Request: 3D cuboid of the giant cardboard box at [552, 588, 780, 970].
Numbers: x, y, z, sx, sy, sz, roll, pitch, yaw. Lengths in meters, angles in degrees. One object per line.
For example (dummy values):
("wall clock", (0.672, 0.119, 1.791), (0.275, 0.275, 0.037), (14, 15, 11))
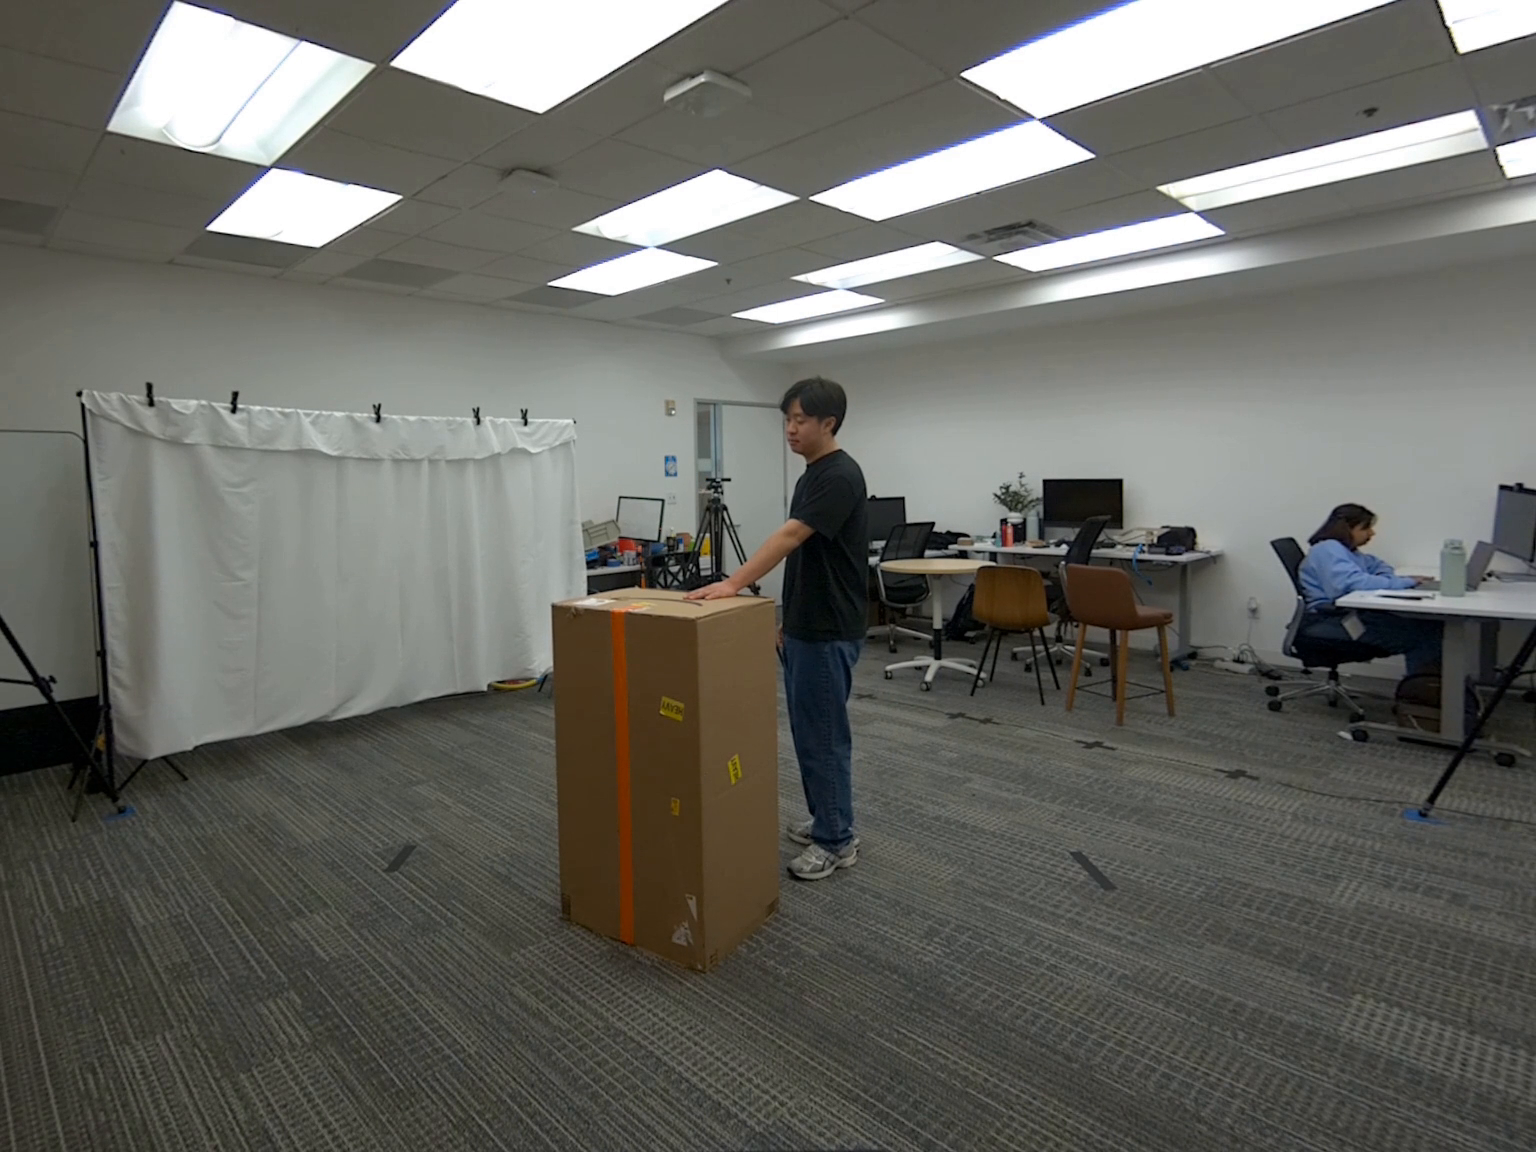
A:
("giant cardboard box", (-0.320, 0.580, 2.713), (0.600, 1.022, 0.436), (2, 6, 35))
